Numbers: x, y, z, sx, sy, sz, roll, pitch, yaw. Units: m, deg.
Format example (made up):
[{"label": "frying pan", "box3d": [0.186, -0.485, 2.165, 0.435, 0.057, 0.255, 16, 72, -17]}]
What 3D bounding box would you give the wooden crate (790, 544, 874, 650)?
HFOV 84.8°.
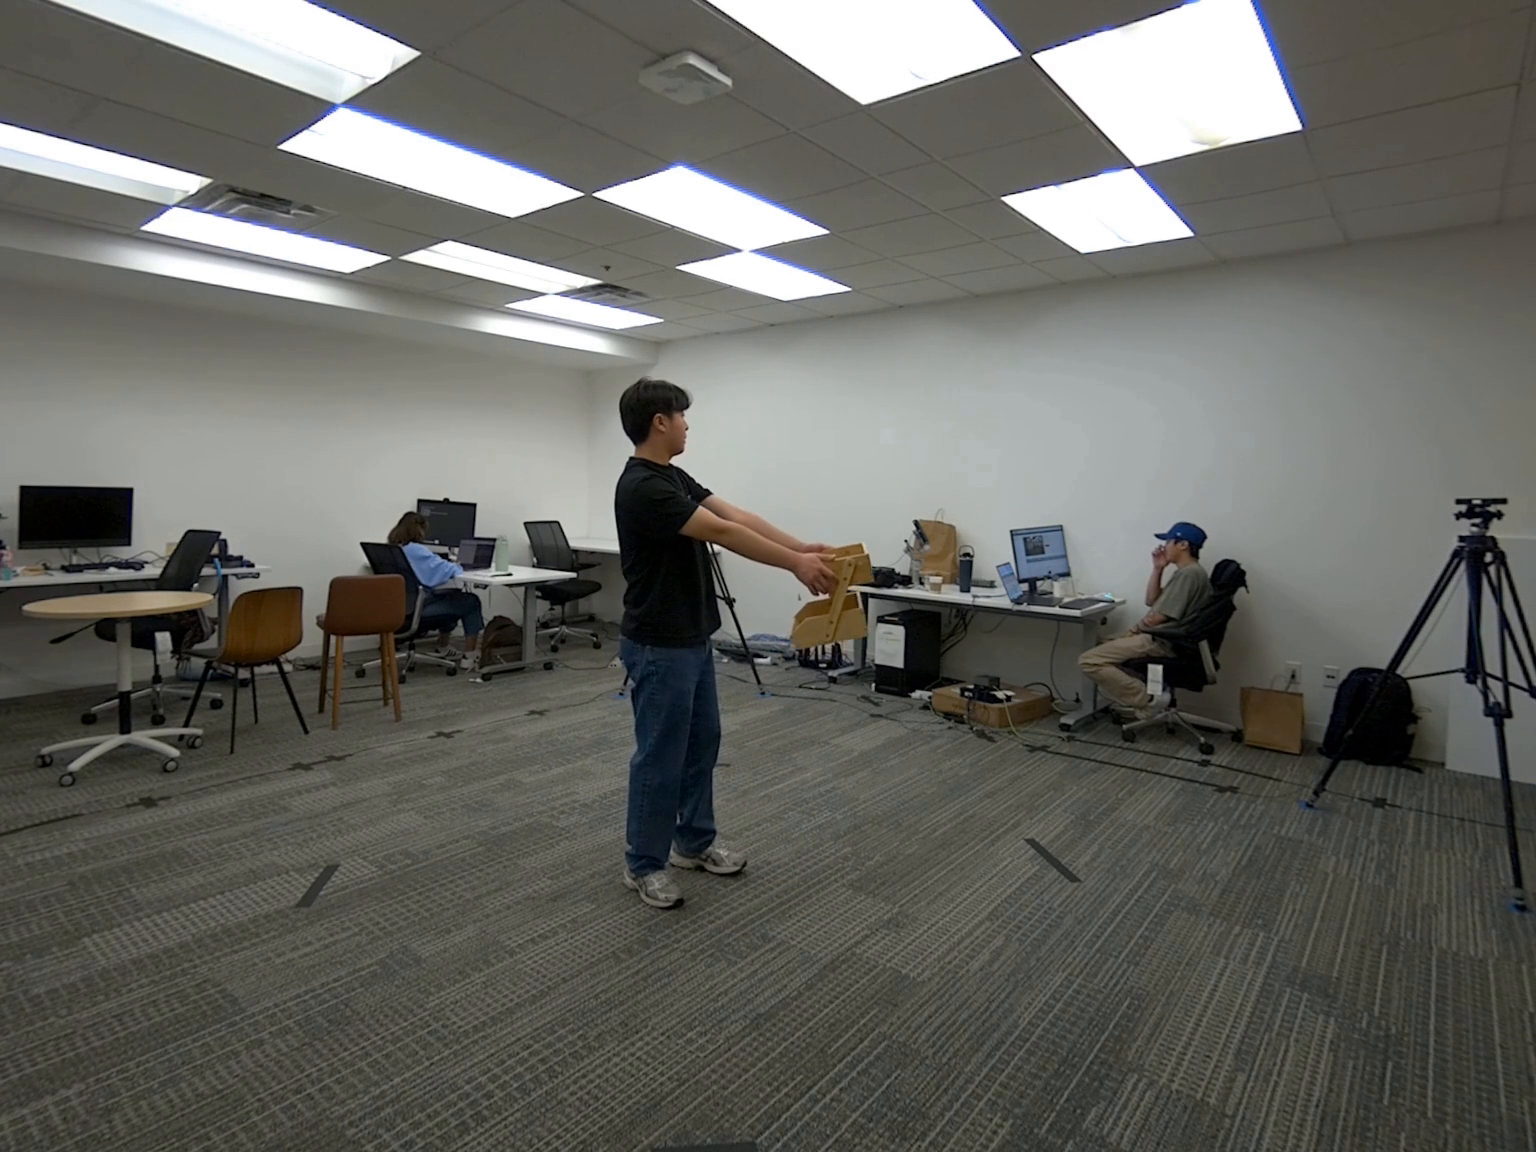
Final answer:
[{"label": "wooden crate", "box3d": [0.184, 0.064, 2.854, 0.304, 0.271, 0.324, -12, 7, 8]}]
